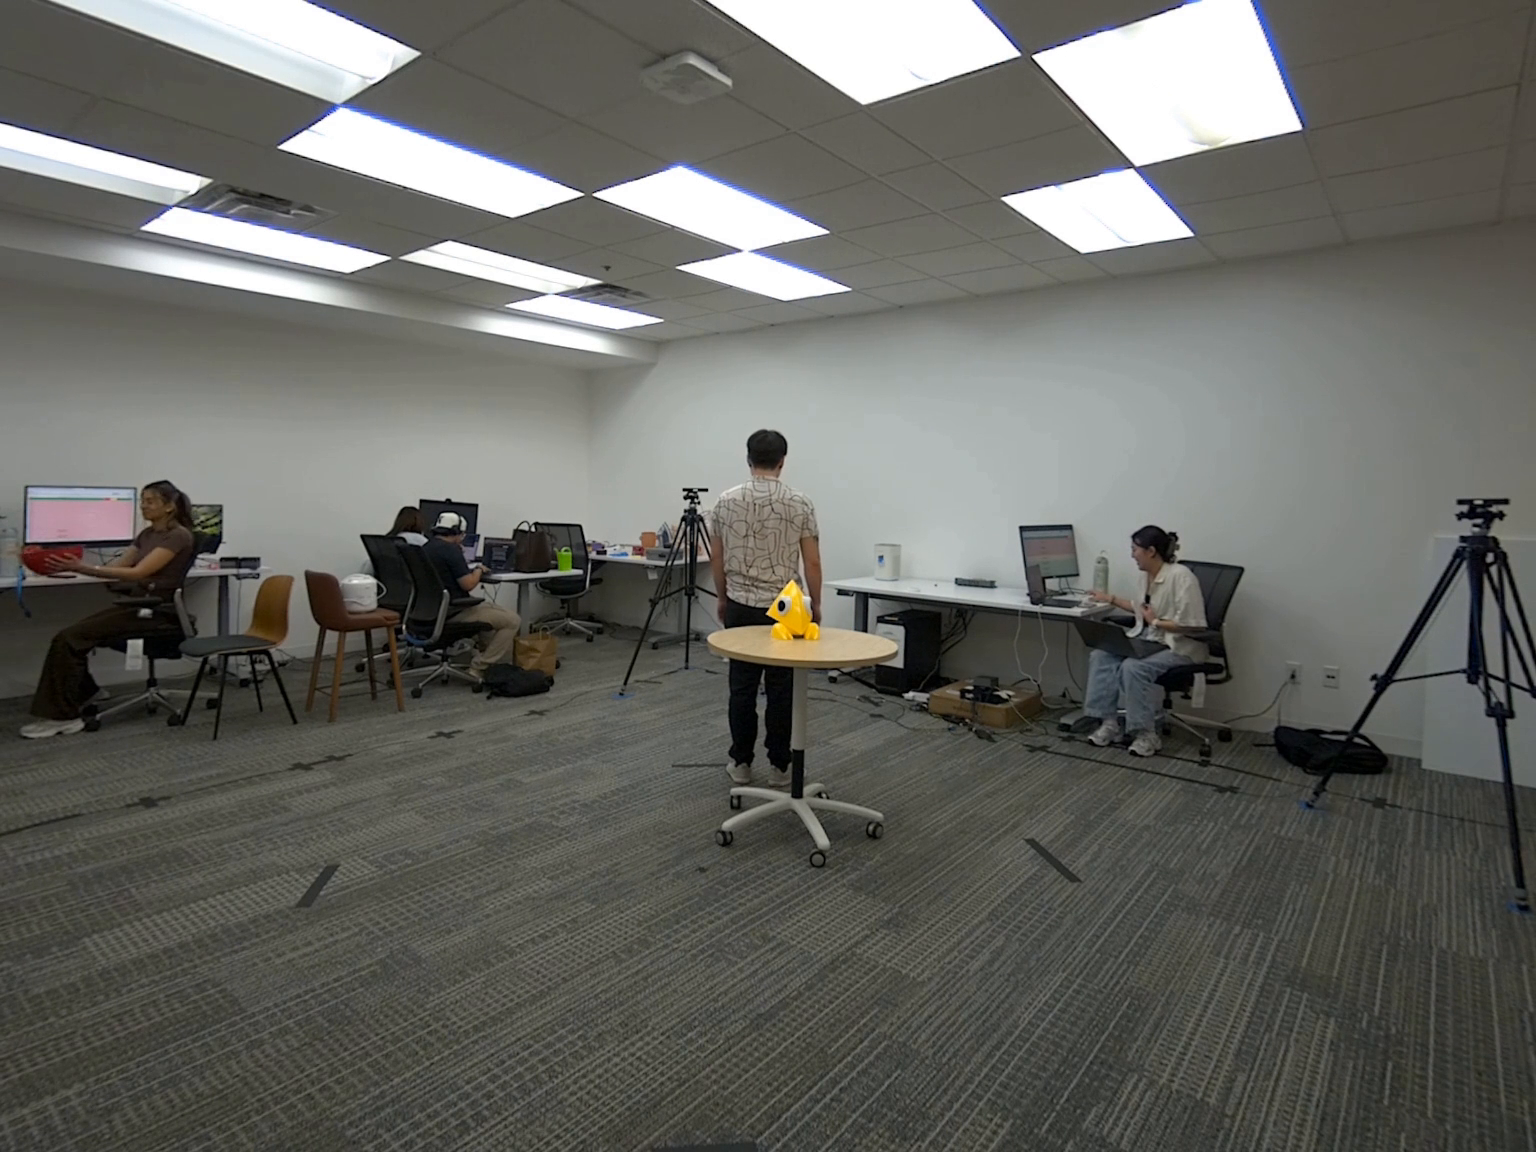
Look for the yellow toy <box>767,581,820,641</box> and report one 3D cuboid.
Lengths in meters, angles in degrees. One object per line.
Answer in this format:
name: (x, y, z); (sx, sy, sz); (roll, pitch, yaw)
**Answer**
yellow toy: (0.109, 0.133, 3.558); (0.202, 0.230, 0.197); (0, 5, -14)
